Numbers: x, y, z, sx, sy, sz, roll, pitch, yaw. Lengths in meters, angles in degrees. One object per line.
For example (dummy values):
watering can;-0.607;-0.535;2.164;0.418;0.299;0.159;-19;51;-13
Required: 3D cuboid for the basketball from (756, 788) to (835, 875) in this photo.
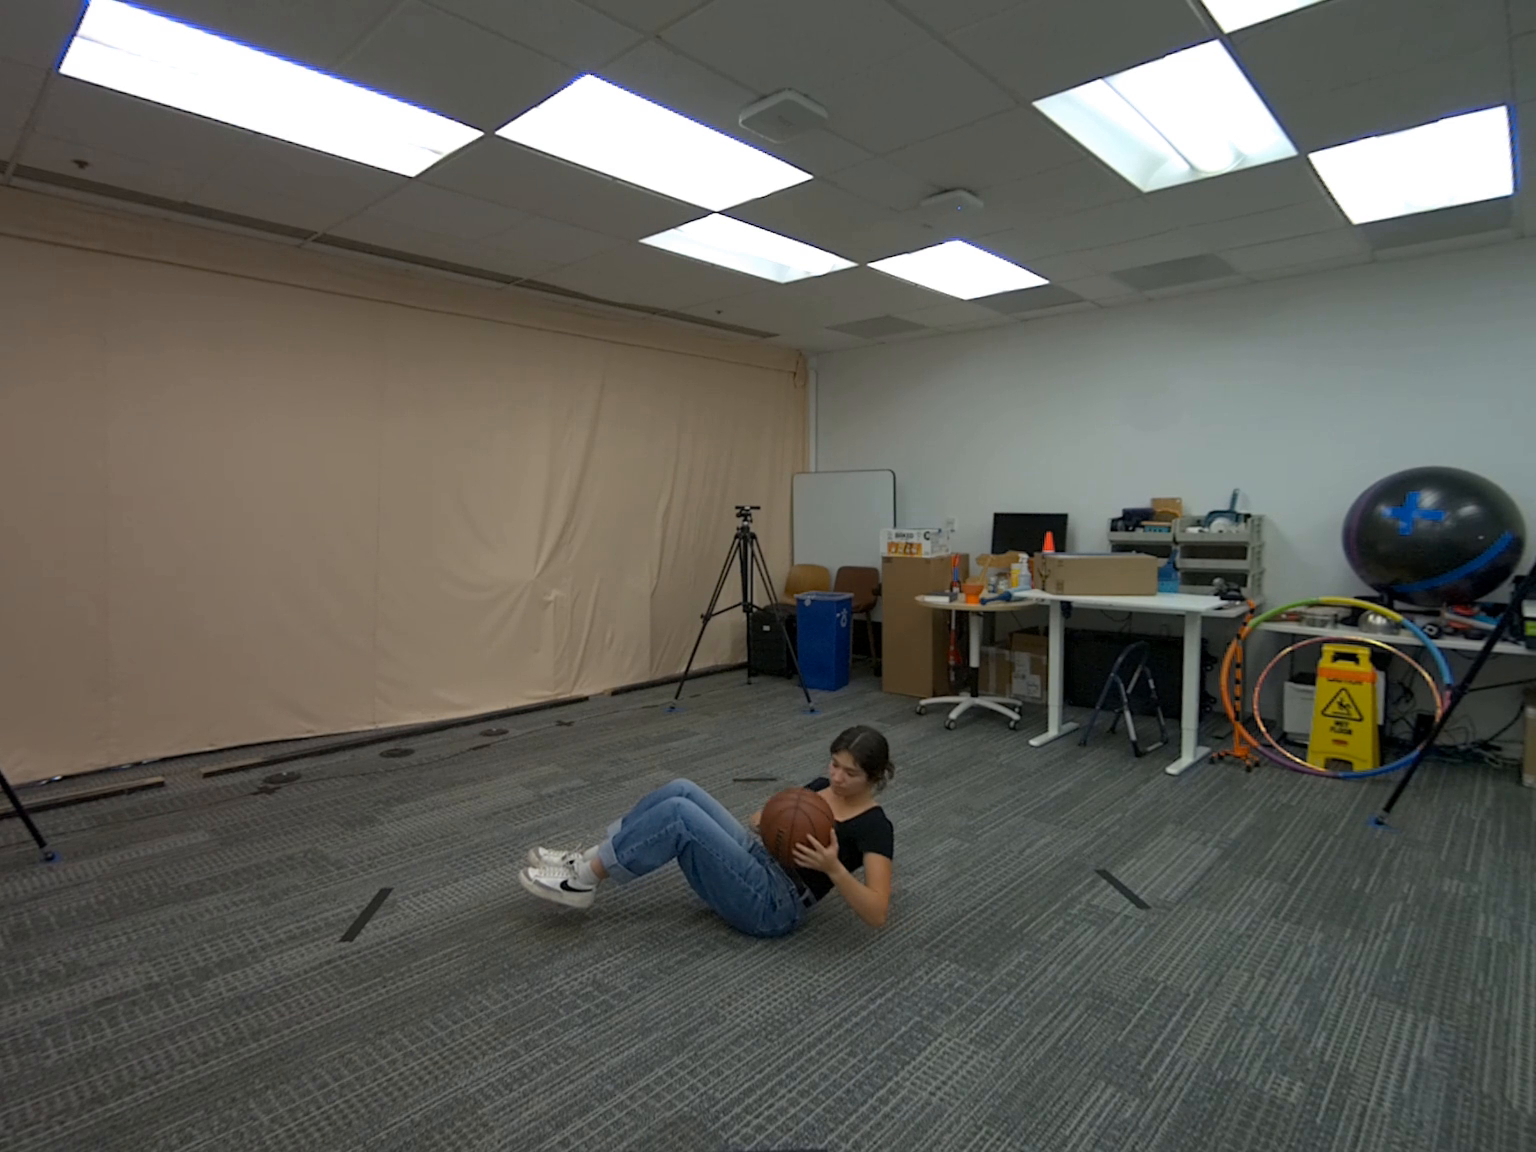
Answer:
basketball;0.104;0.799;2.629;0.236;0.235;0.237;0;4;-2
